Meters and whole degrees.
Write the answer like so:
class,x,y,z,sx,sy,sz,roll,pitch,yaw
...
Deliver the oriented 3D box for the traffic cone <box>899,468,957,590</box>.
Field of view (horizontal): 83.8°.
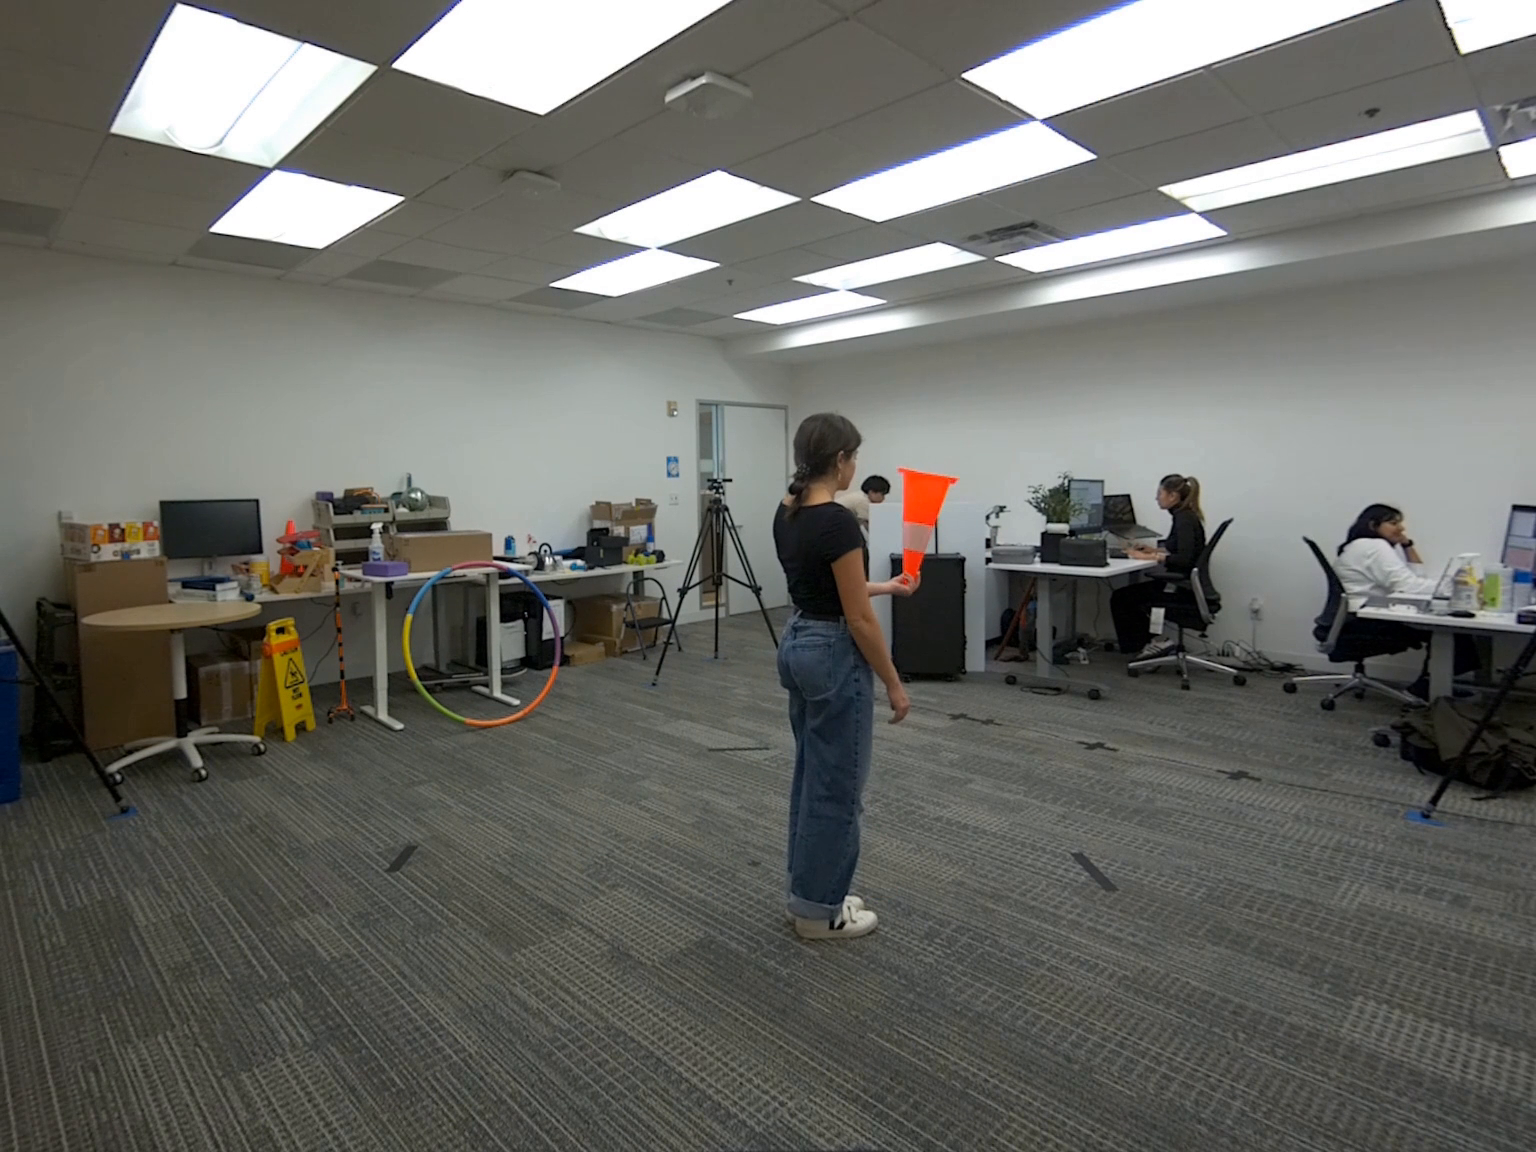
class,x,y,z,sx,sy,sz,roll,pitch,yaw
traffic cone,0.524,-0.147,2.887,0.205,0.384,0.203,11,0,8
